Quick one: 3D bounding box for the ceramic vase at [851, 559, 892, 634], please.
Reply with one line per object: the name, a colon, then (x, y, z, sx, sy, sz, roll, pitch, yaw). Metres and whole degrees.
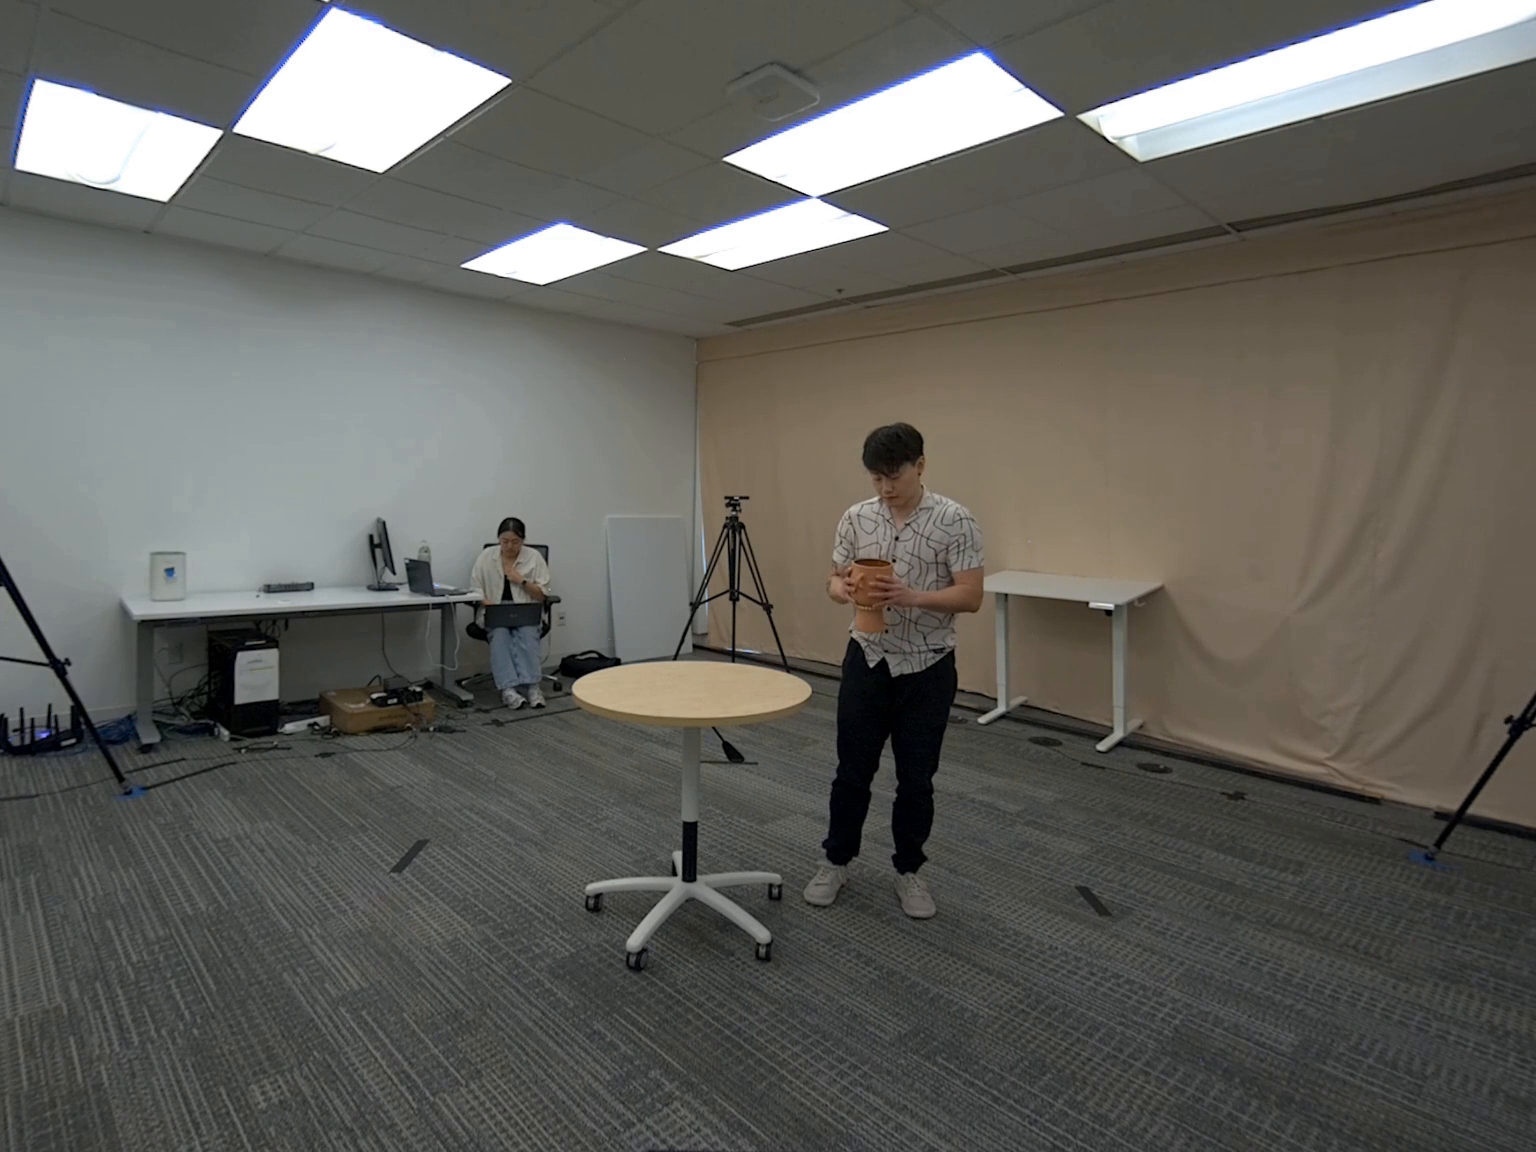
ceramic vase: (0.311, 0.065, 2.699, 0.157, 0.218, 0.137, -2, 13, -14)
